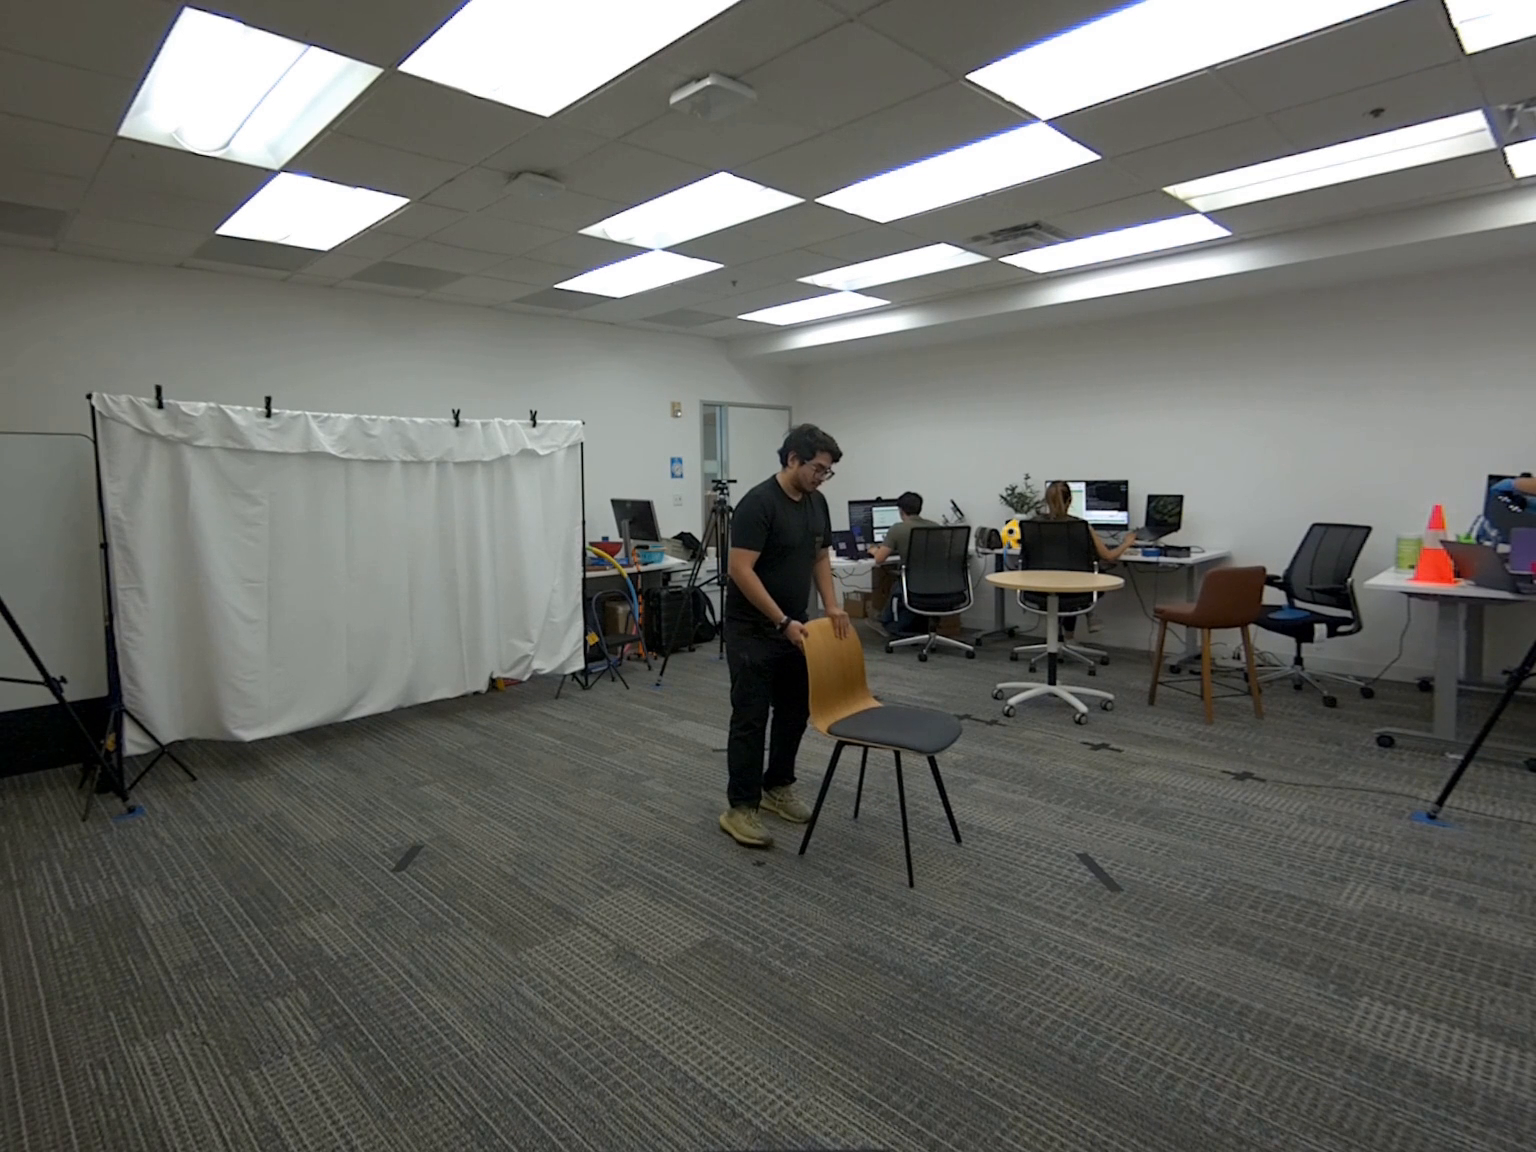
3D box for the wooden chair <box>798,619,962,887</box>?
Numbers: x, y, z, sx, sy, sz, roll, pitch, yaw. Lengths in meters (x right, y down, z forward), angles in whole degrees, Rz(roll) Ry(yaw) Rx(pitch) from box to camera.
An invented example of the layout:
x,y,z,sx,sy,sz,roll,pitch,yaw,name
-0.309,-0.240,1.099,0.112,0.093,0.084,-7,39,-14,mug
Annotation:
x,y,z,sx,sy,sz,roll,pitch,yaw,name
0.429,0.603,3.178,0.537,0.877,0.466,-4,1,35,wooden chair
